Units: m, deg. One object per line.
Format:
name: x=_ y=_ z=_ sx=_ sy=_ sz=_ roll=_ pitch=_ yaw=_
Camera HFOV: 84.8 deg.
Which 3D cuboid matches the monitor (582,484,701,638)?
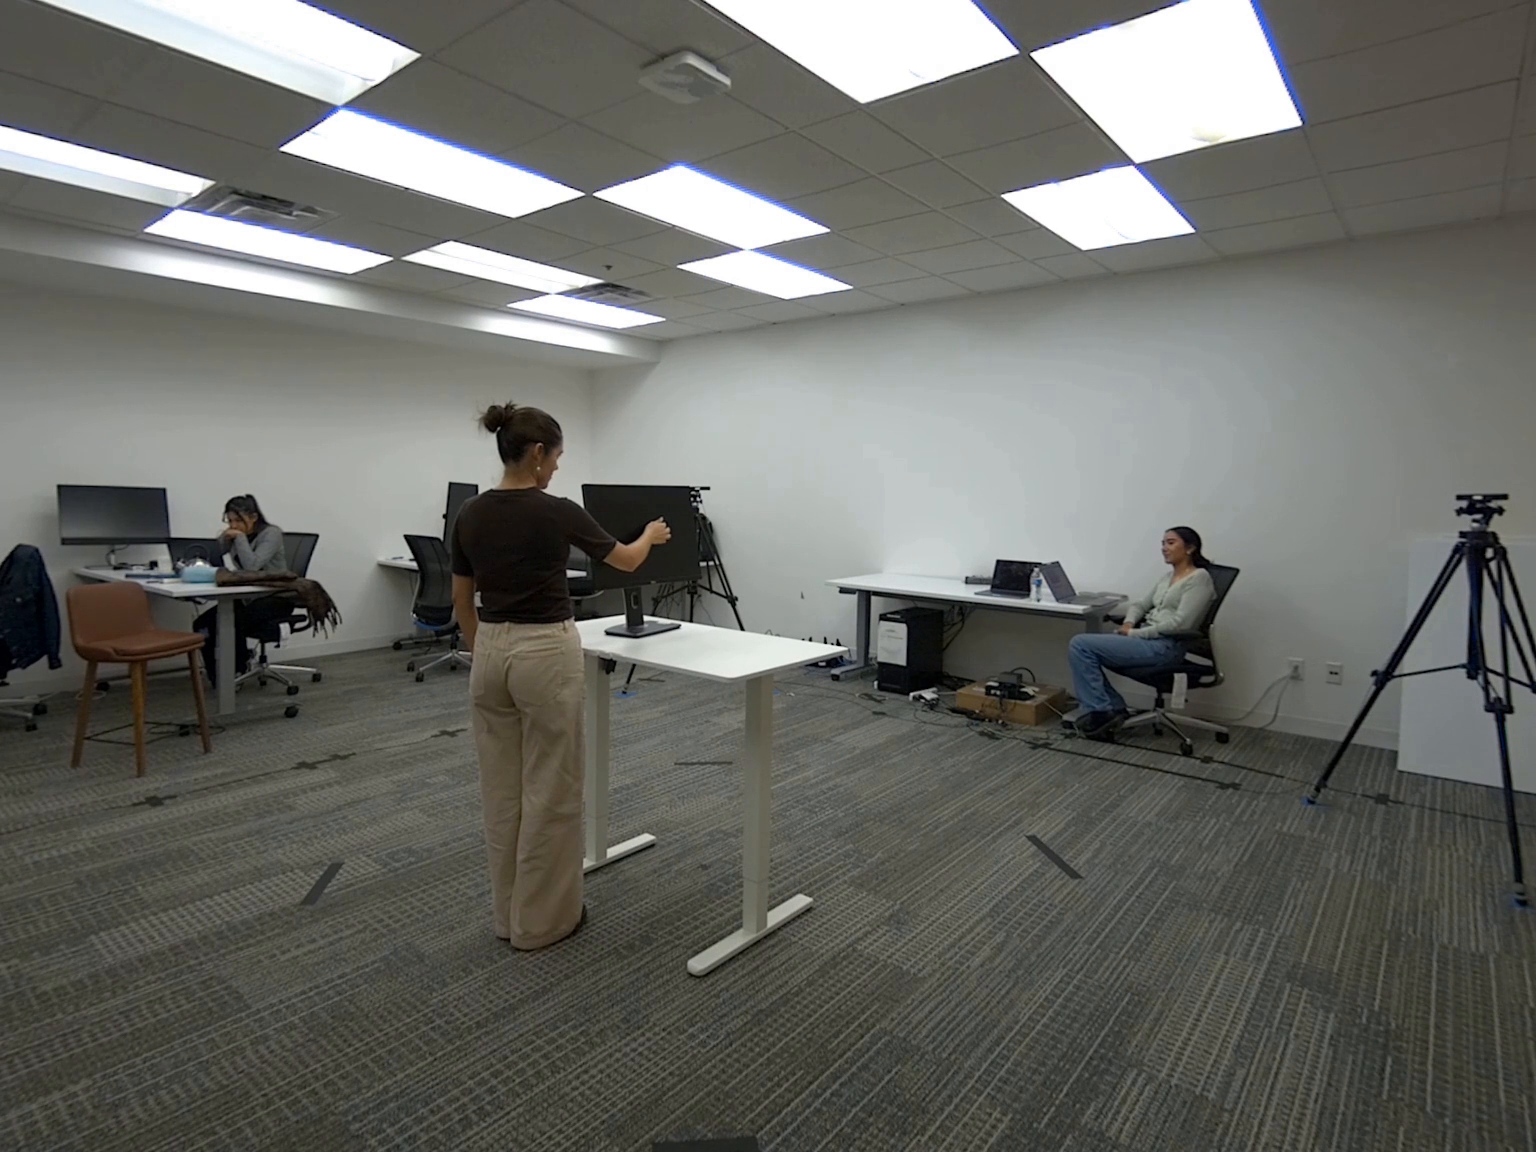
monitor: x=-0.459 y=-0.060 z=2.982 sx=0.193 sy=0.521 sz=0.524 roll=3 pitch=5 yaw=35
